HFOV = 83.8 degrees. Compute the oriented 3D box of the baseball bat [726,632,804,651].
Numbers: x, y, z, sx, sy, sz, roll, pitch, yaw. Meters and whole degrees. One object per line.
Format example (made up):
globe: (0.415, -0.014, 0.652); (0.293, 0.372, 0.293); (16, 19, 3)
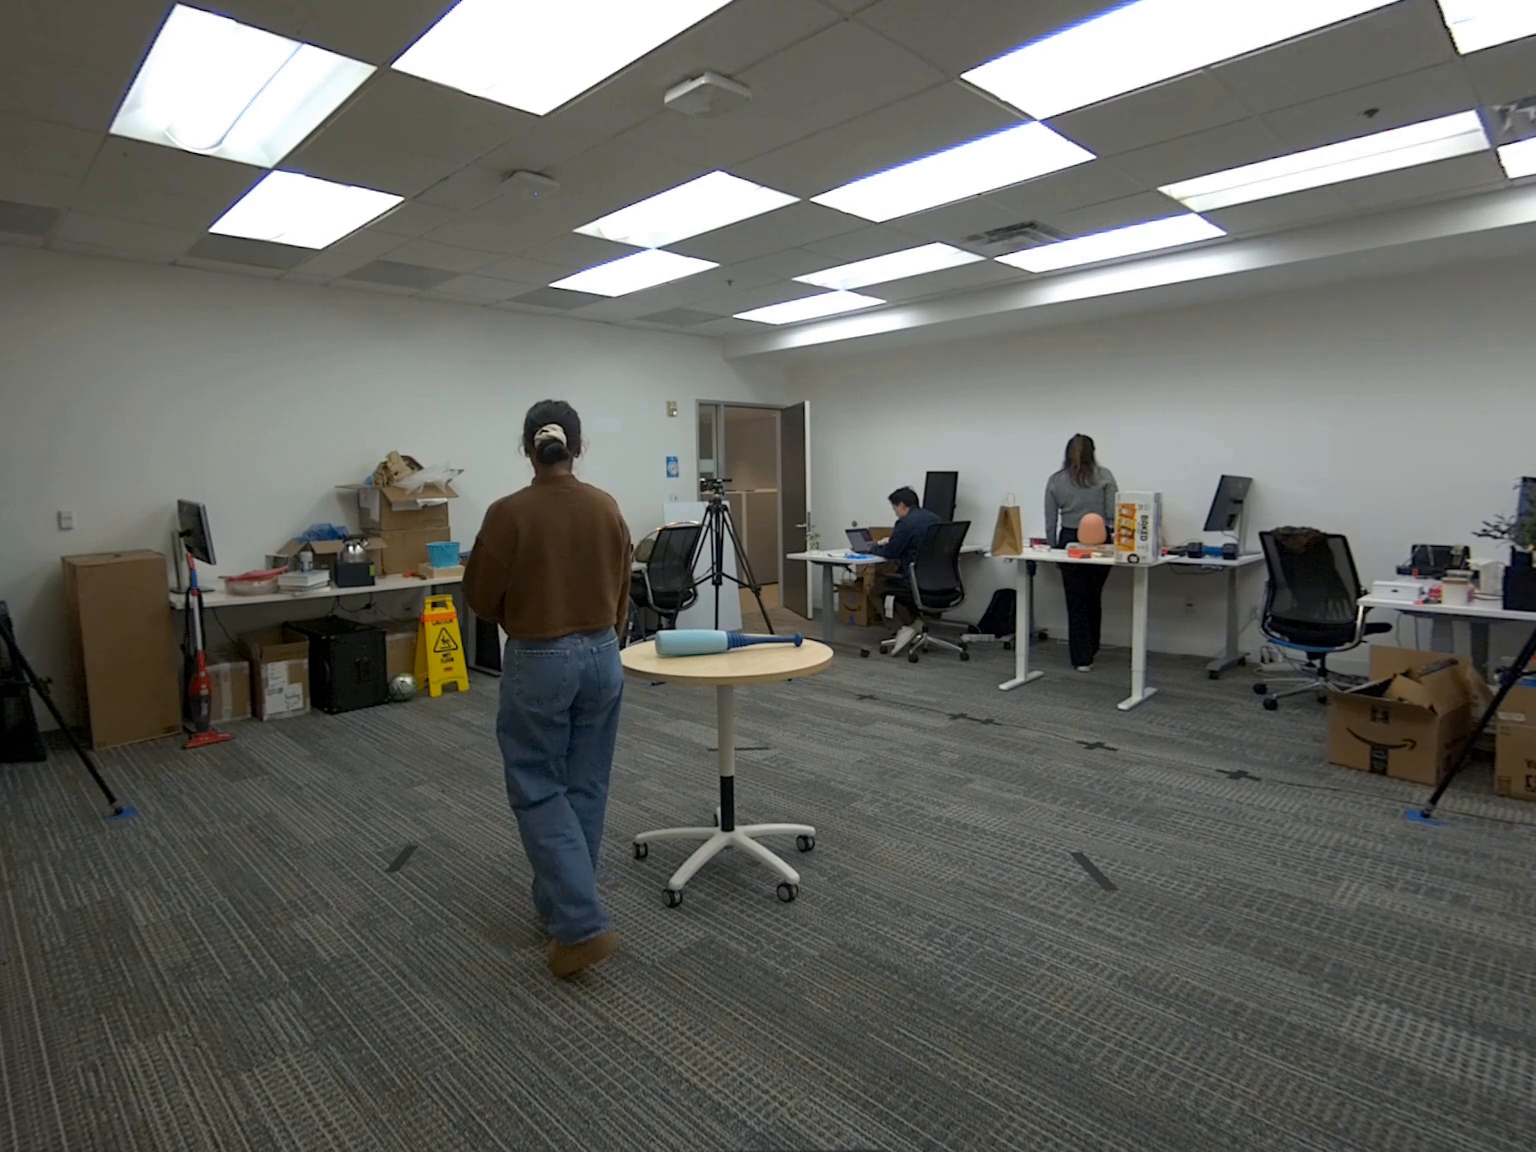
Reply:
baseball bat: (-0.137, 0.235, 3.042); (0.534, 0.089, 0.091); (0, 4, -17)
